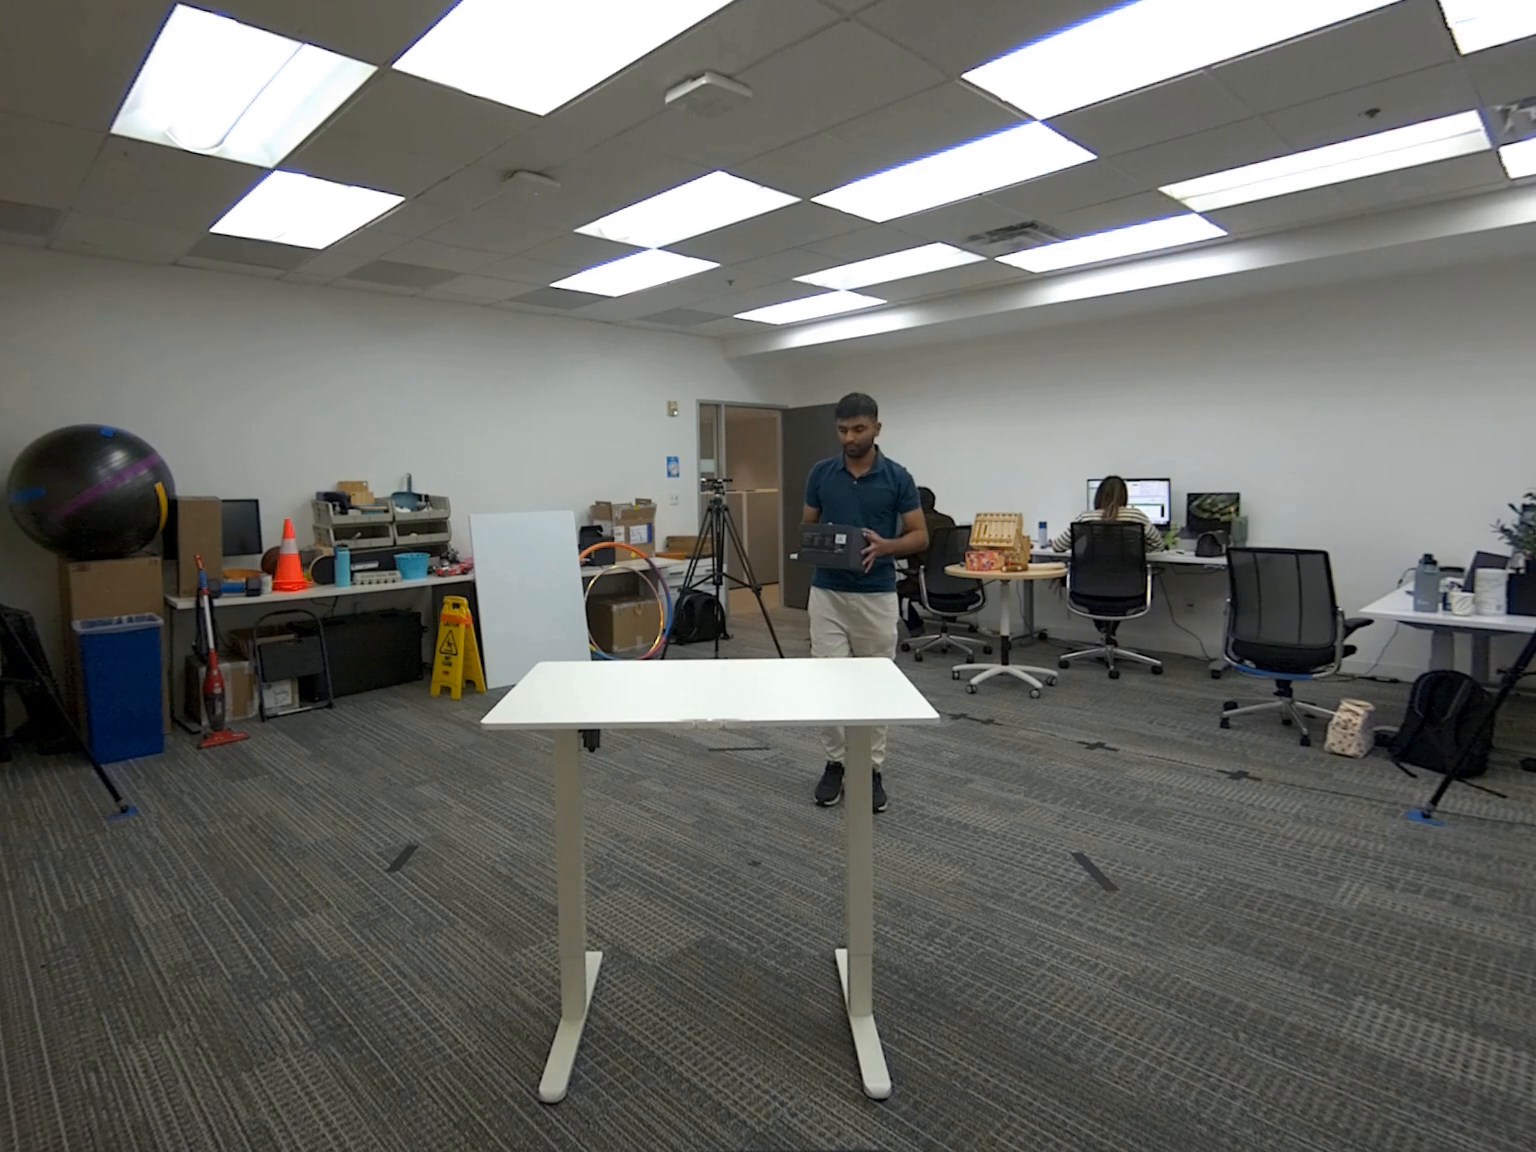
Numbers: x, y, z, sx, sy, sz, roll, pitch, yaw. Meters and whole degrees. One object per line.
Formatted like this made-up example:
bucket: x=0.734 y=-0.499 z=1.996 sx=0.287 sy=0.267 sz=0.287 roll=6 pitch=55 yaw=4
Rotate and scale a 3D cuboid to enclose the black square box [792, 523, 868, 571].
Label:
black square box: x=0.232 y=-0.118 z=3.360 sx=0.221 sy=0.156 sz=0.223 roll=4 pitch=-1 yaw=18
